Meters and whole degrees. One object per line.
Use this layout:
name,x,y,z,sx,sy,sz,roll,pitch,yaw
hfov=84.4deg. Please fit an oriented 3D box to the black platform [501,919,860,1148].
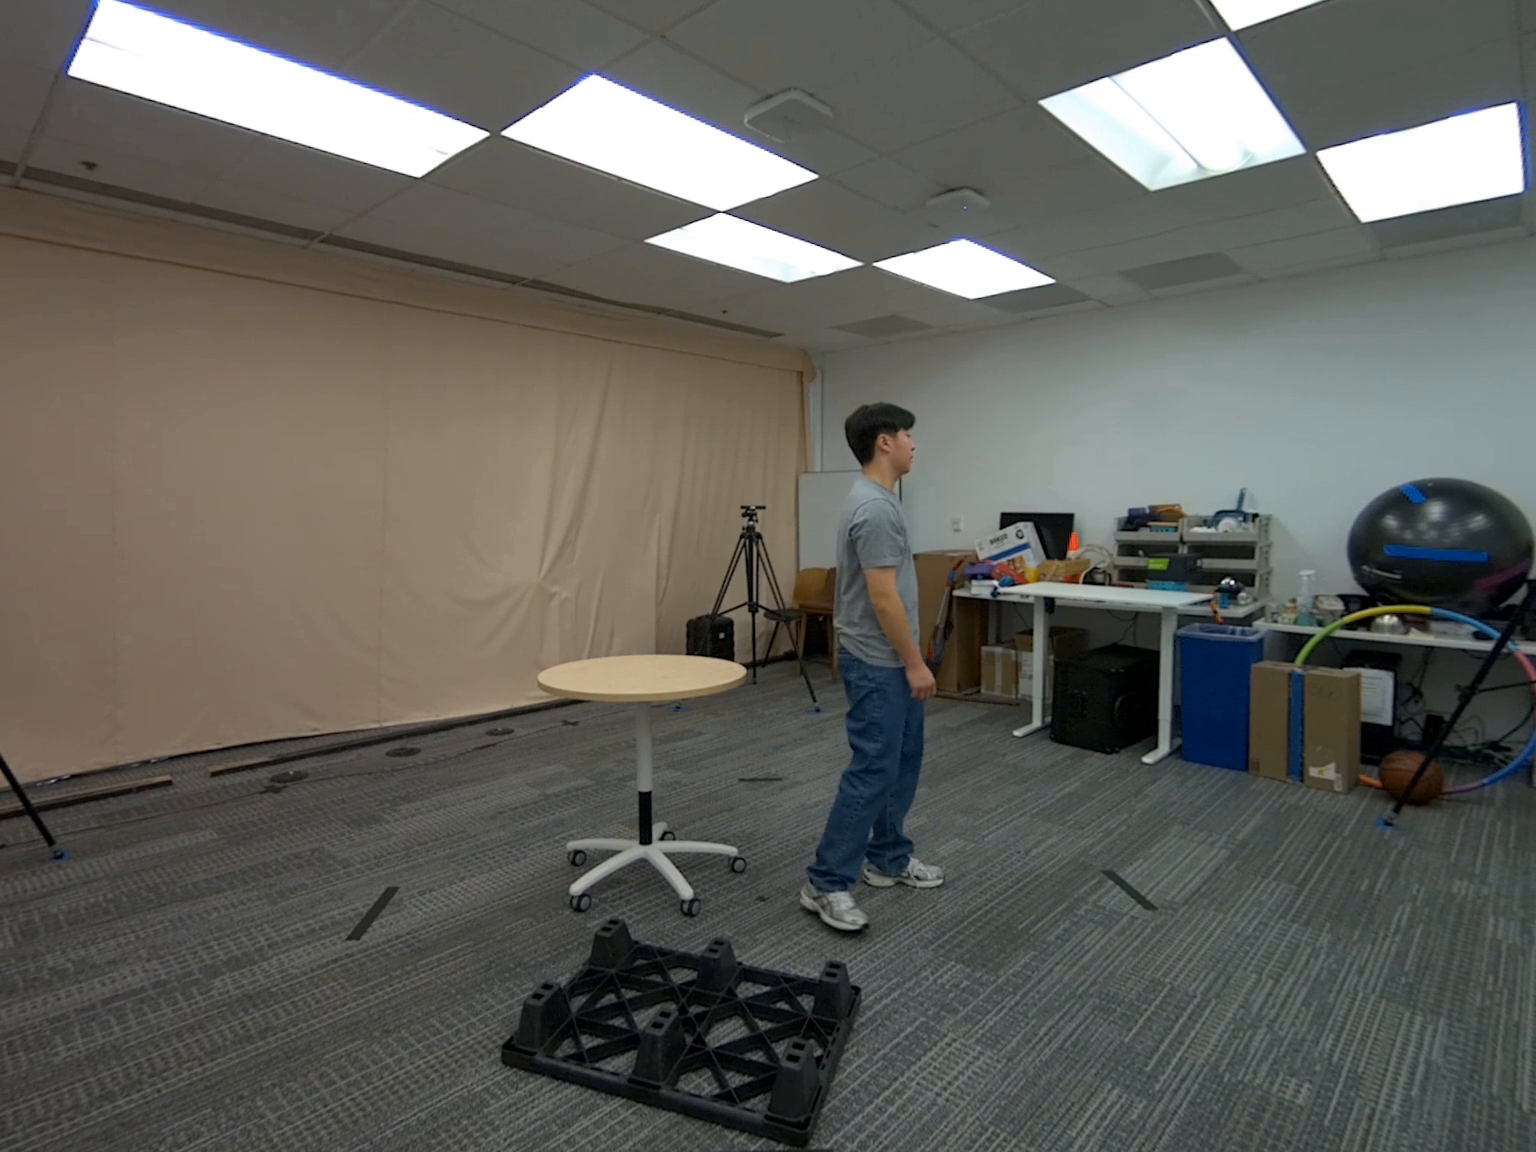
black platform,-0.195,1.143,2.231,0.823,0.143,0.594,2,6,20
